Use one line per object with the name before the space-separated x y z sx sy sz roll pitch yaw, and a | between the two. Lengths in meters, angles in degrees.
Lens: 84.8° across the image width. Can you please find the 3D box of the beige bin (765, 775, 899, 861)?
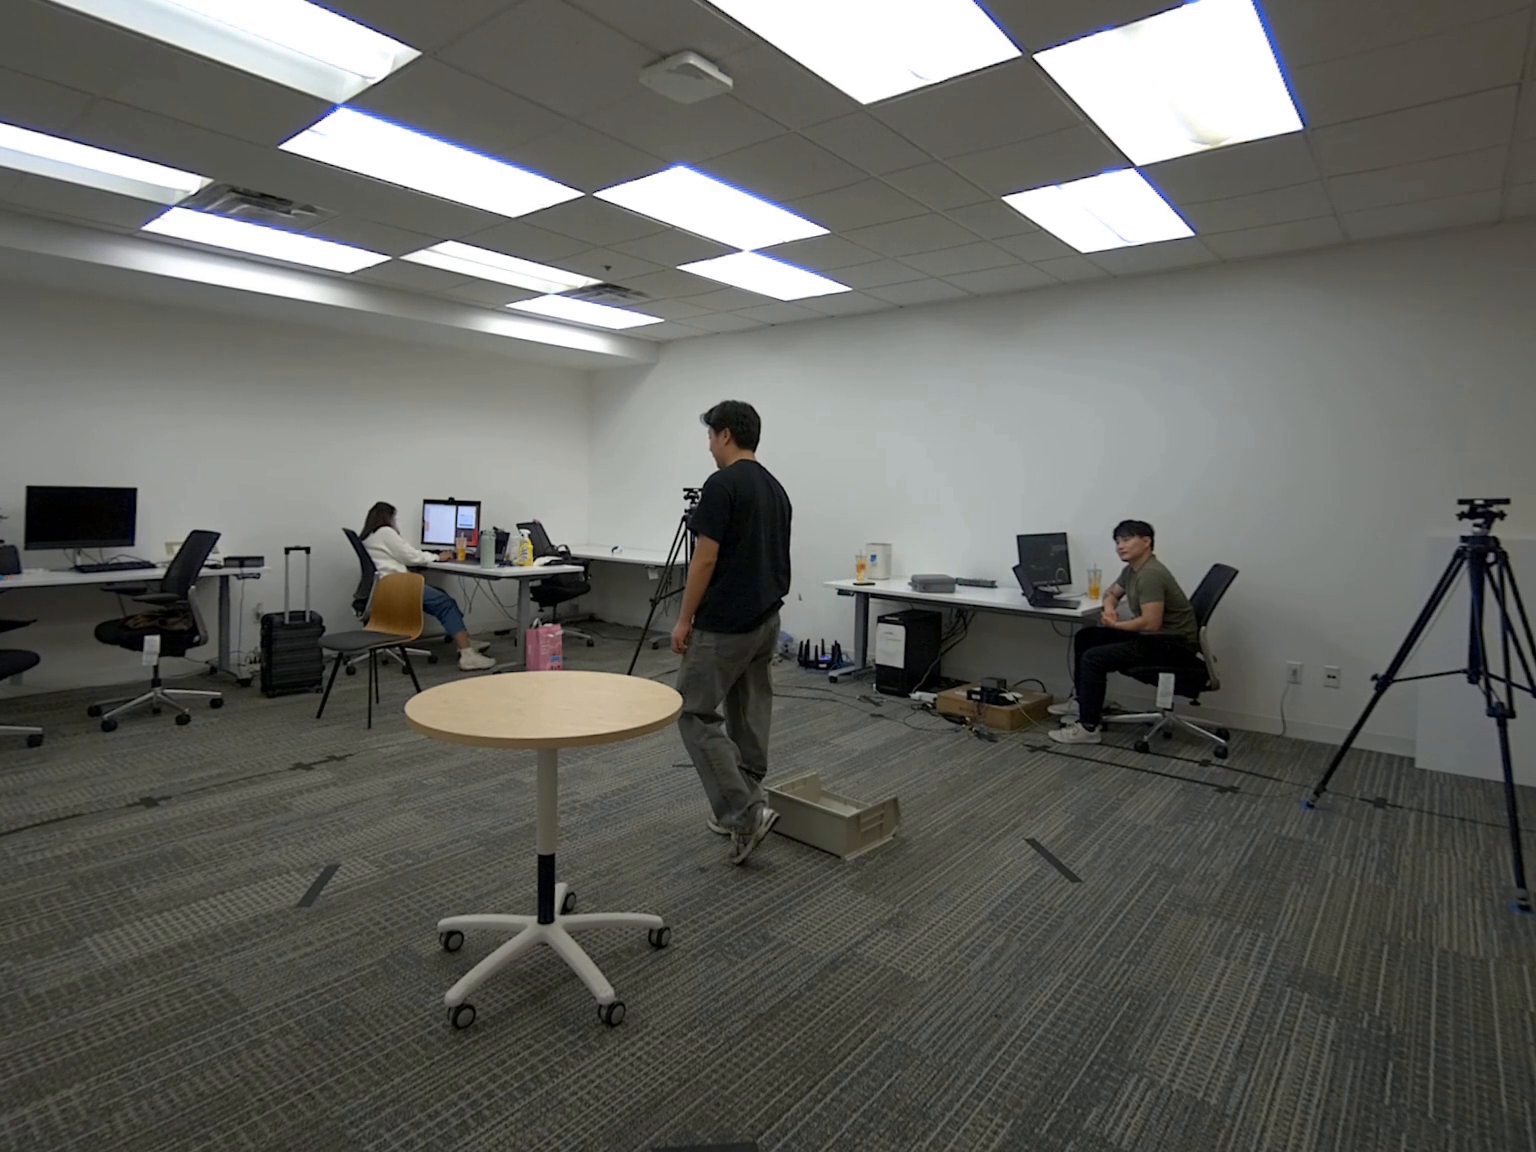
beige bin | 0.256 0.961 3.463 0.437 0.188 0.366 7 8 43
